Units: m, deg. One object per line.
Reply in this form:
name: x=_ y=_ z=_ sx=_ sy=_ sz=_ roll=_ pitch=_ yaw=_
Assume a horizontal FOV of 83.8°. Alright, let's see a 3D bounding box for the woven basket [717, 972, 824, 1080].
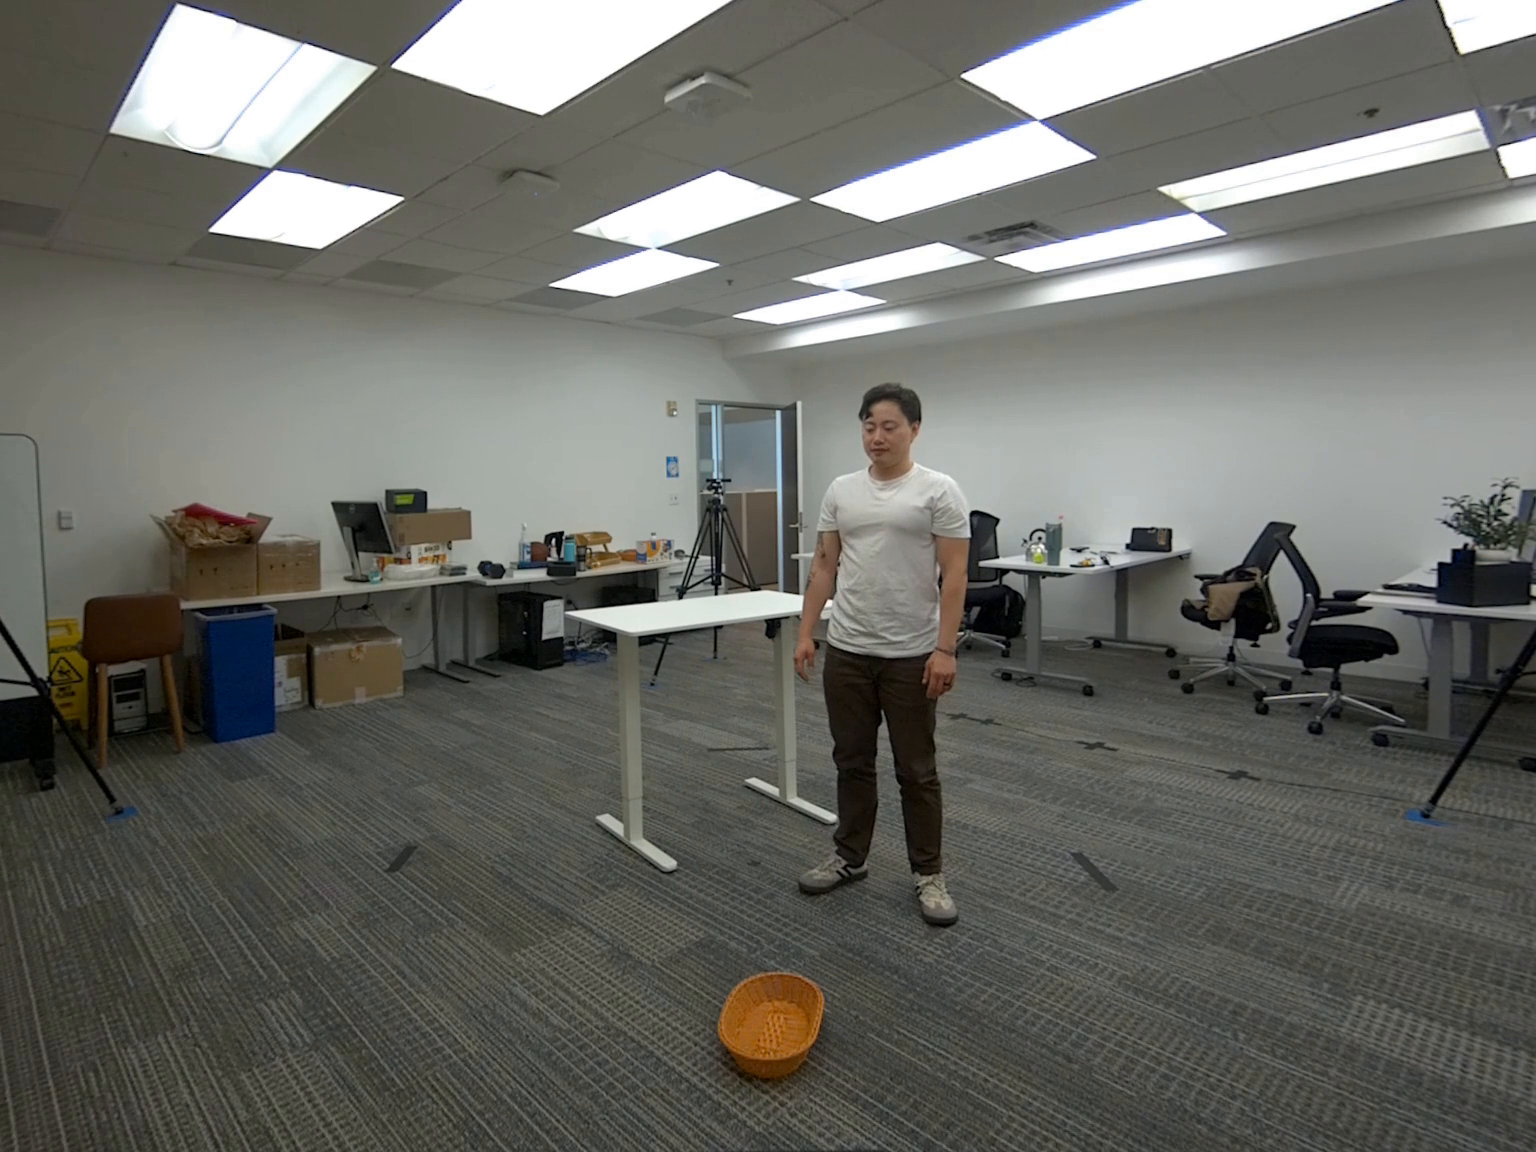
woven basket: x=0.015 y=1.121 z=2.133 sx=0.256 sy=0.073 sz=0.347 roll=0 pitch=7 yaw=14
